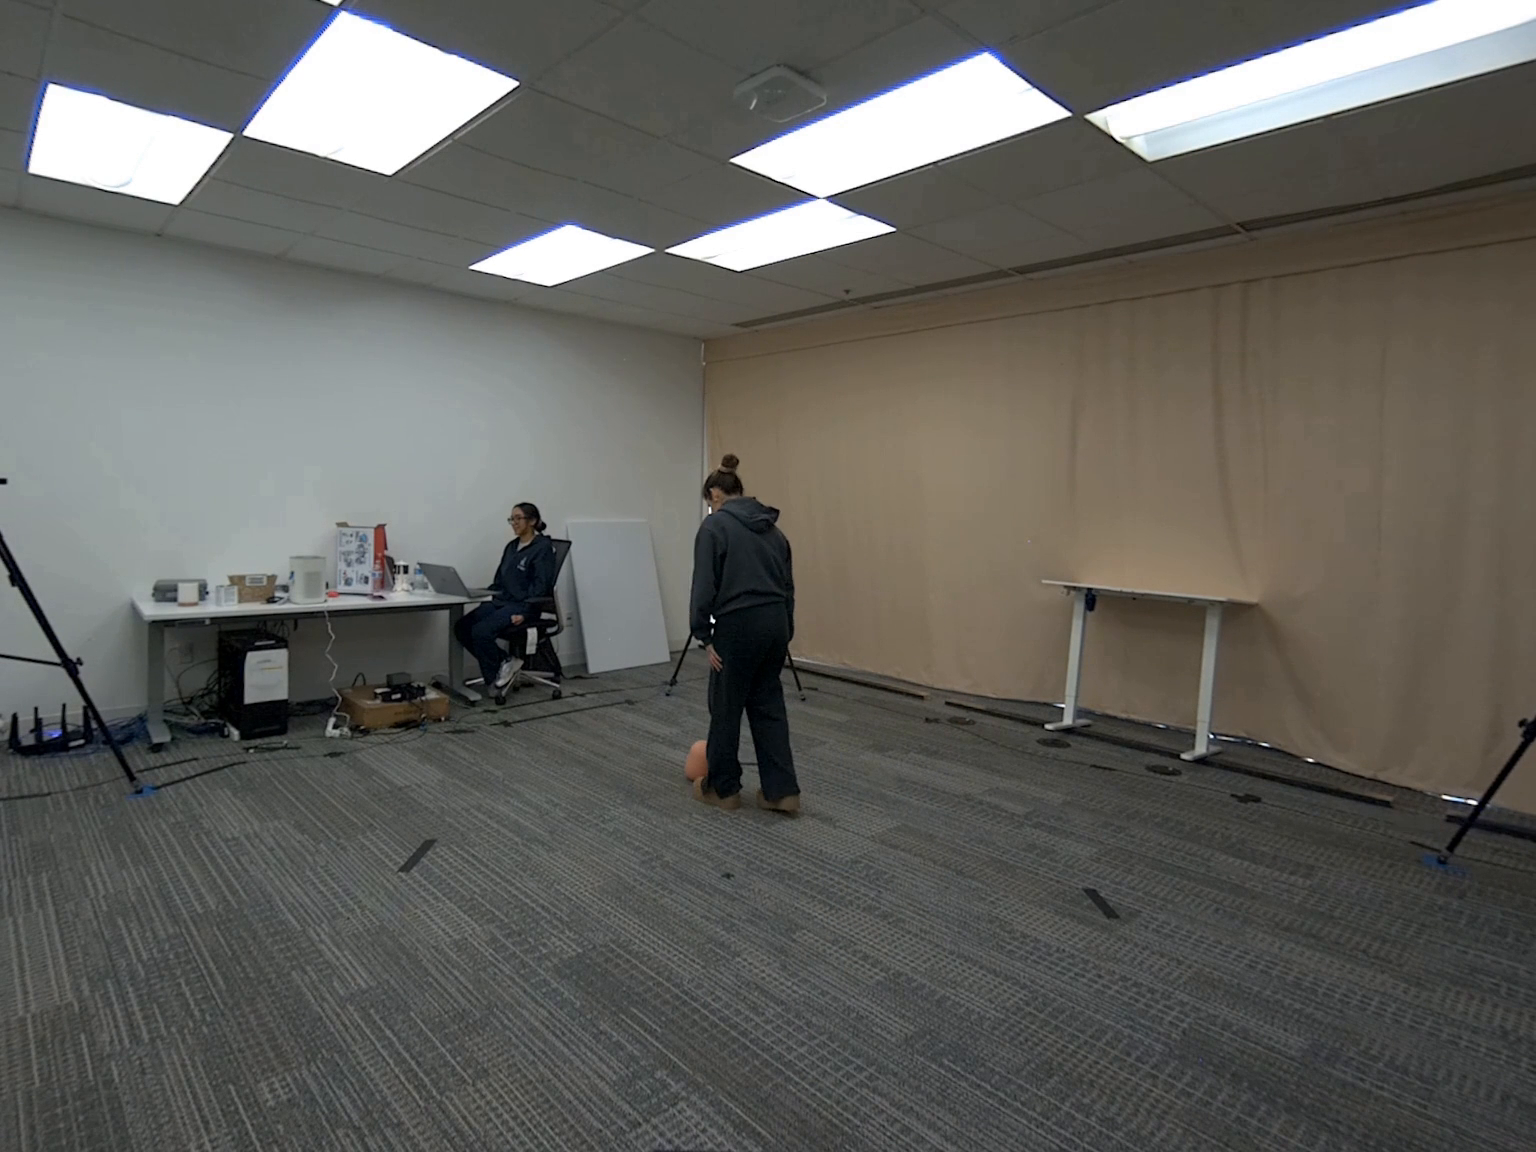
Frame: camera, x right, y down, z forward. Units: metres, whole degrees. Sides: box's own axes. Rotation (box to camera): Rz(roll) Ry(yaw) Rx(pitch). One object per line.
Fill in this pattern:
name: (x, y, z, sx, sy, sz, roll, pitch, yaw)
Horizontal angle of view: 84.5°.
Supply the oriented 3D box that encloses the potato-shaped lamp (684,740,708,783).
potato-shaped lamp: (-0.344, 0.905, 4.179, 0.161, 0.197, 0.176, -2, 13, -35)
